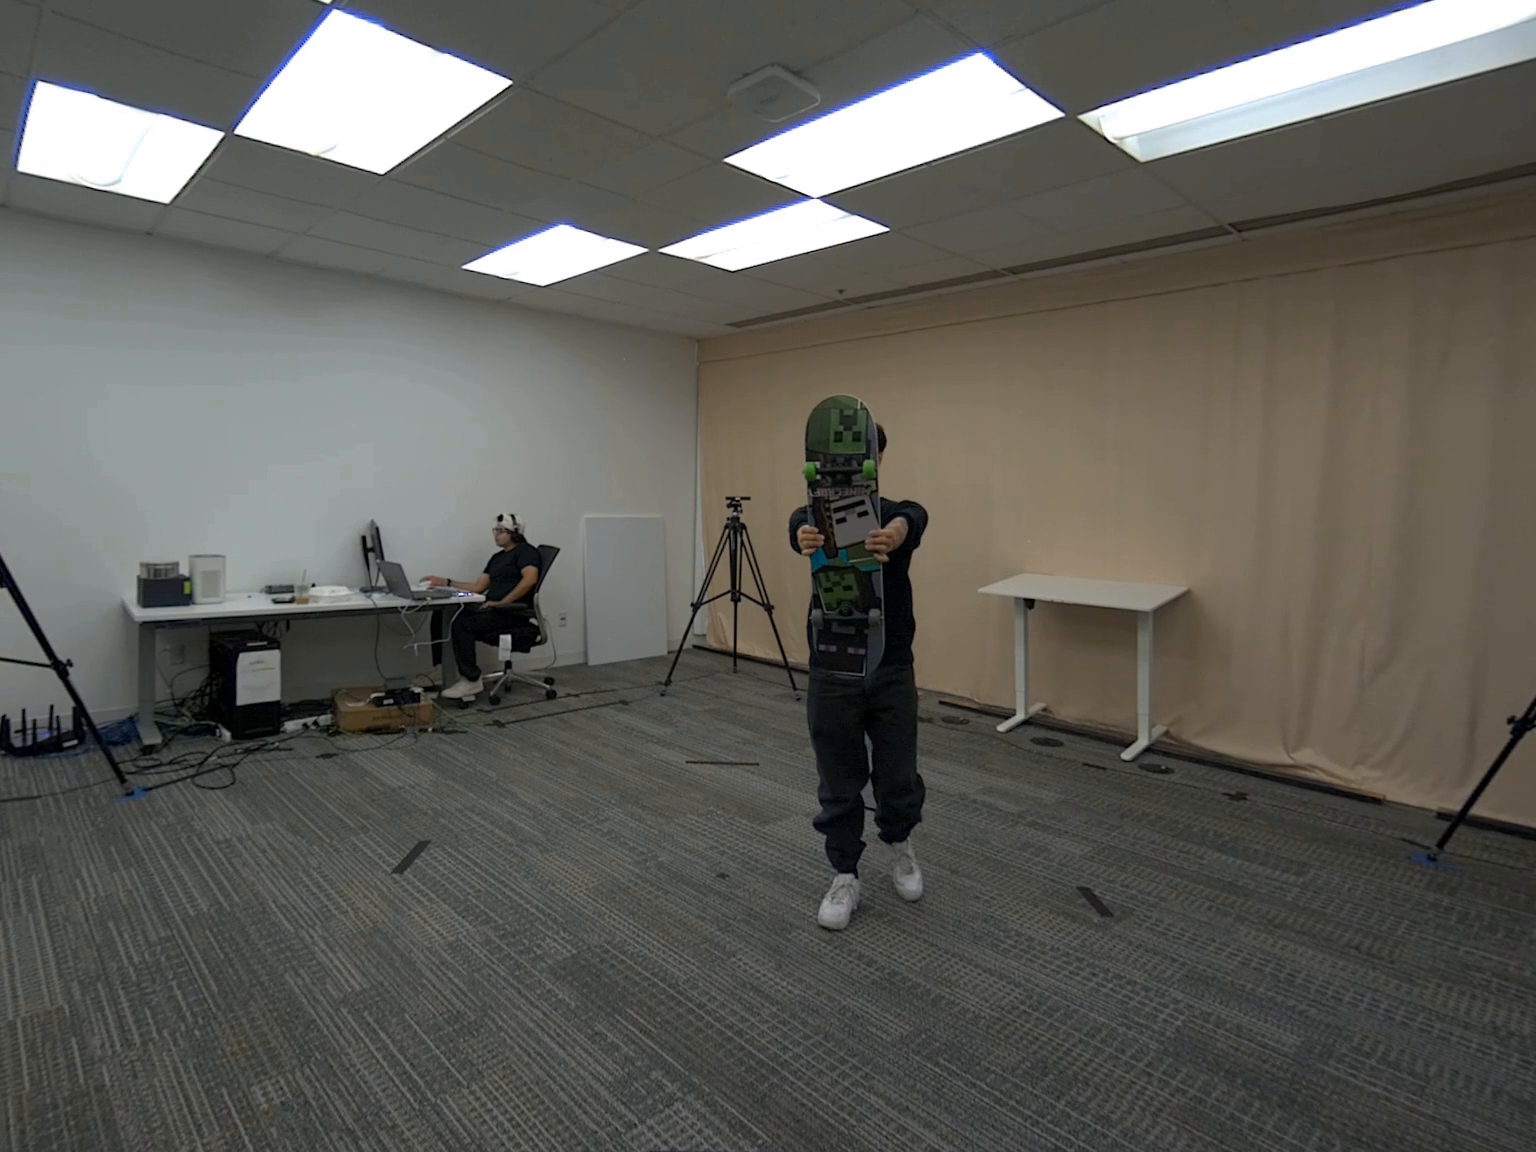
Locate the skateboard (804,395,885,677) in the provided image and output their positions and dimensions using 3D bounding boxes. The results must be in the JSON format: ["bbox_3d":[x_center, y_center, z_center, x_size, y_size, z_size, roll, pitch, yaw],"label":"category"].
[{"bbox_3d":[0.199,-0.085,2.250,0.196,0.780,0.110,0,9,14],"label":"skateboard"}]
